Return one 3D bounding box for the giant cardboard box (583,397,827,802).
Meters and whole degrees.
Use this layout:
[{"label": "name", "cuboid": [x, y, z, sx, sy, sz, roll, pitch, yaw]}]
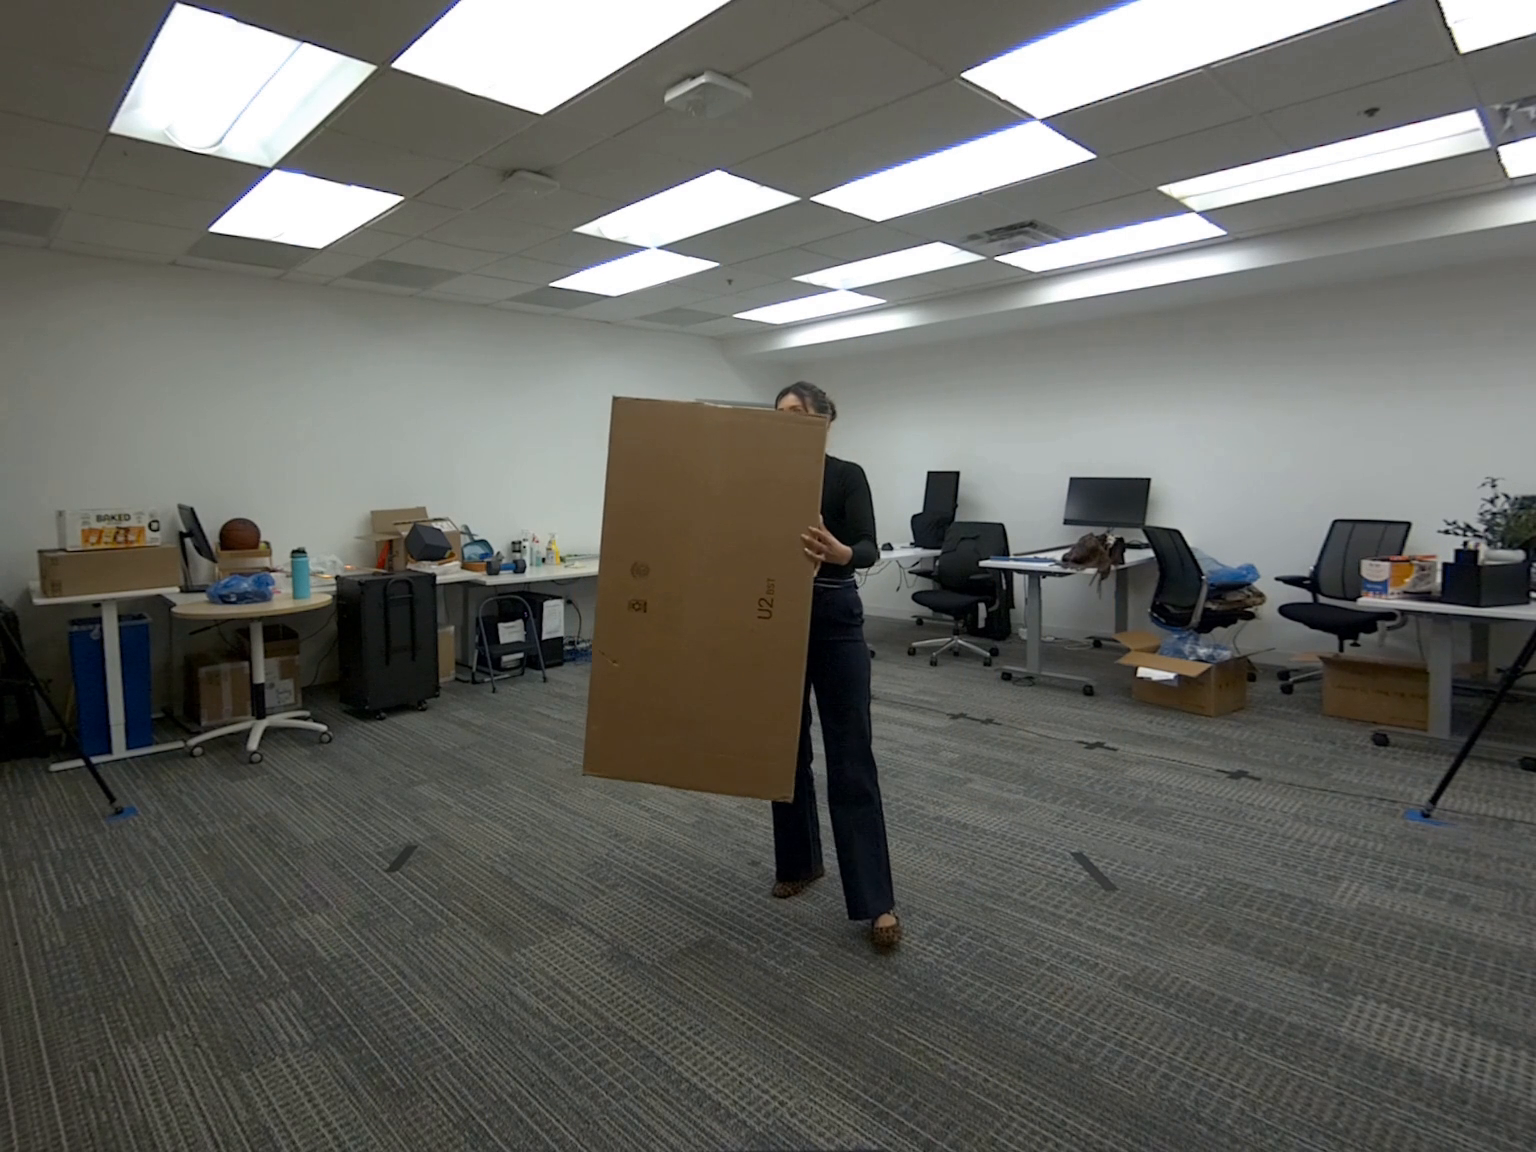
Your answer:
[{"label": "giant cardboard box", "cuboid": [-0.147, 0.044, 2.445, 0.579, 1.023, 0.426, 5, 3, 2]}]
